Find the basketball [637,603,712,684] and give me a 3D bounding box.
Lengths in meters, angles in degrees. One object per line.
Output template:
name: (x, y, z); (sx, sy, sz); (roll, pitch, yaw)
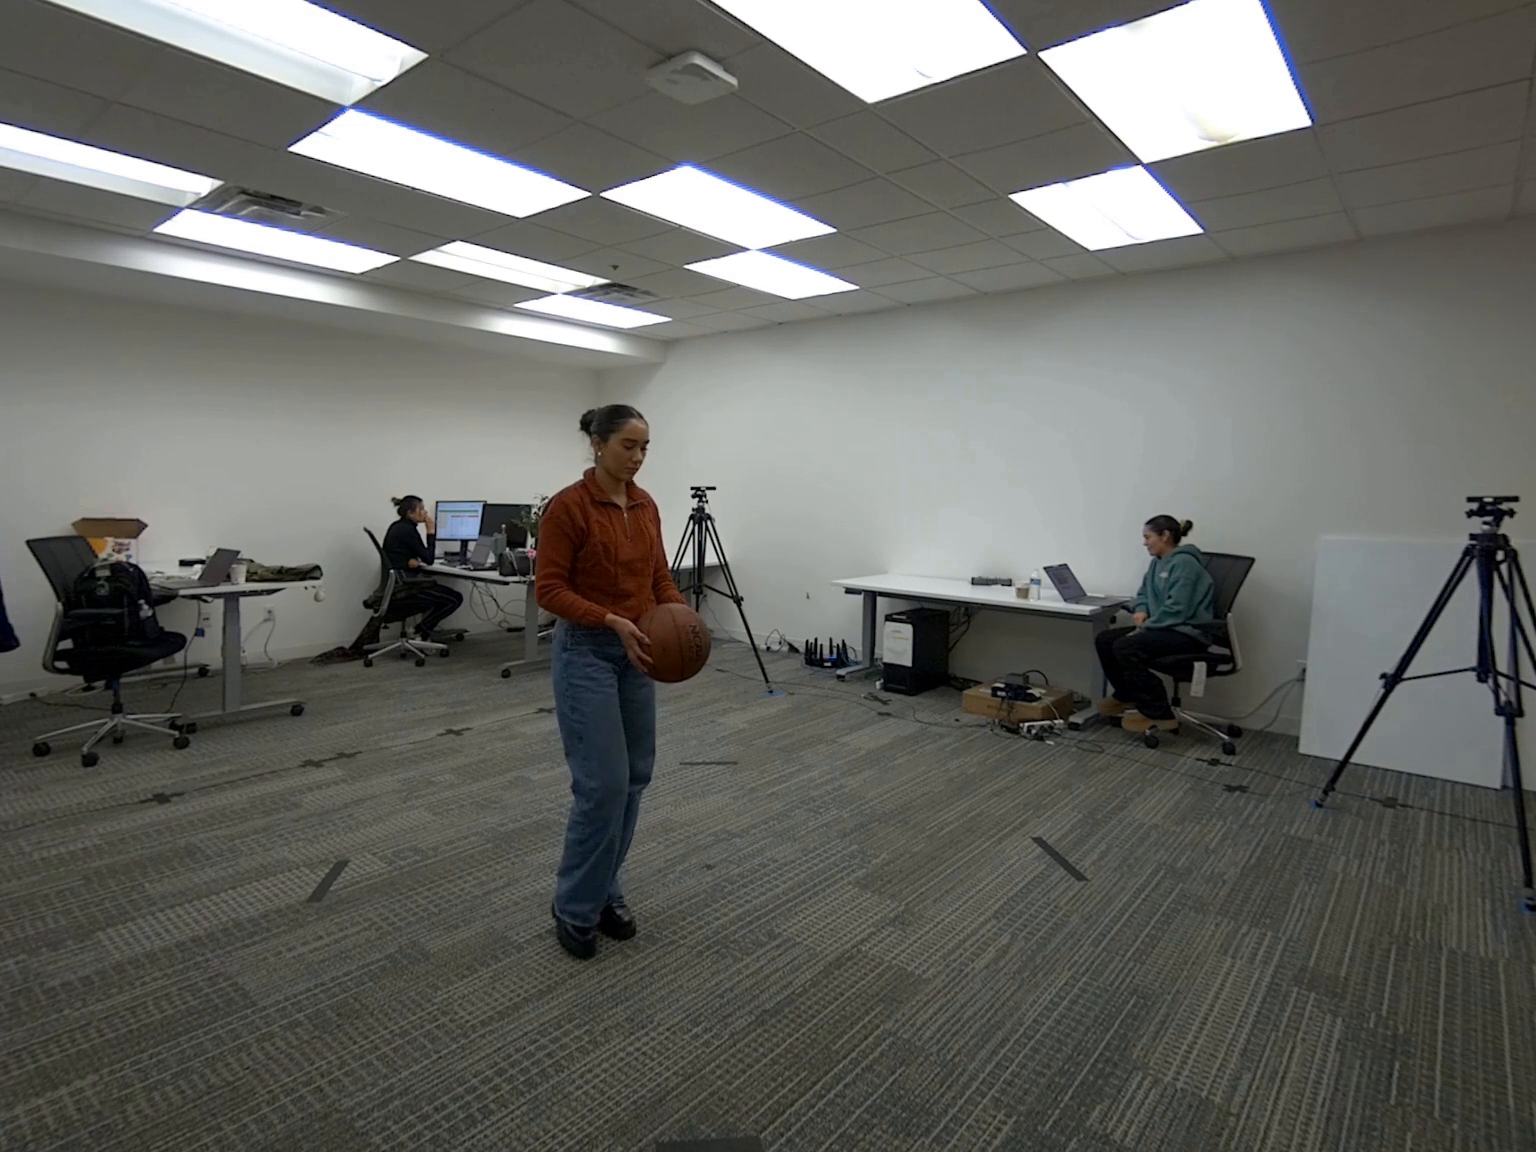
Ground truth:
basketball: (-0.301, 0.195, 2.514); (0.236, 0.235, 0.237); (1, 4, -2)
